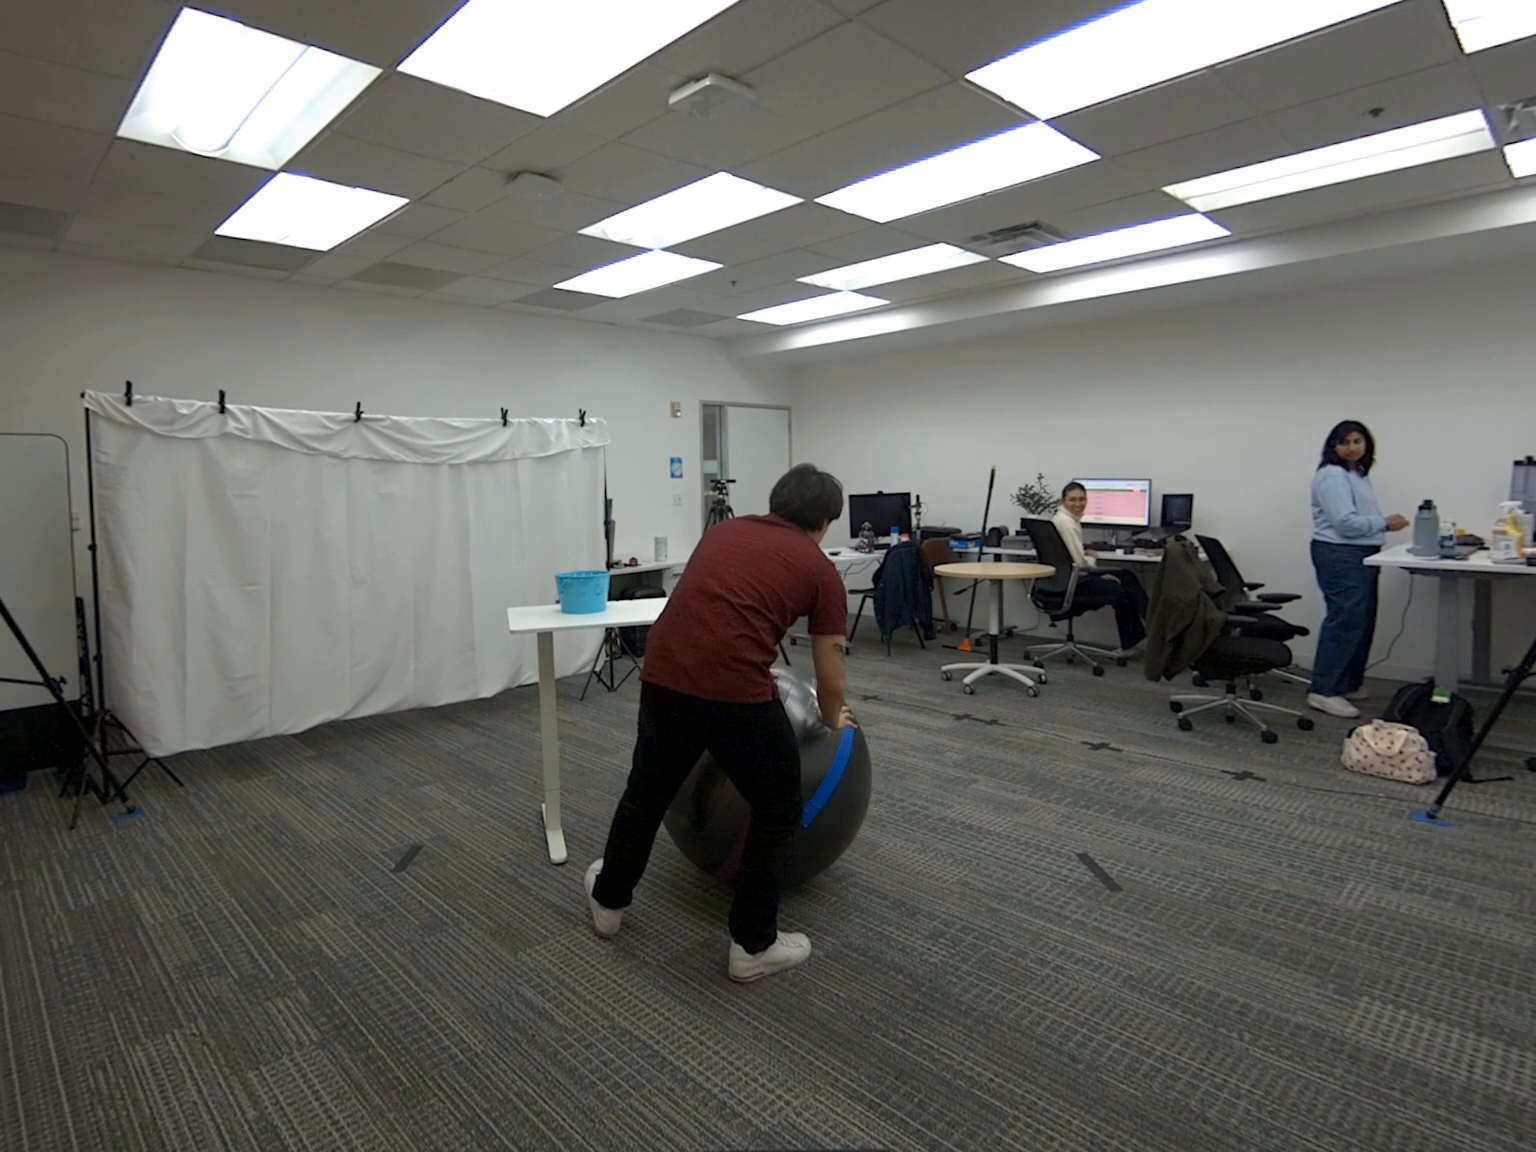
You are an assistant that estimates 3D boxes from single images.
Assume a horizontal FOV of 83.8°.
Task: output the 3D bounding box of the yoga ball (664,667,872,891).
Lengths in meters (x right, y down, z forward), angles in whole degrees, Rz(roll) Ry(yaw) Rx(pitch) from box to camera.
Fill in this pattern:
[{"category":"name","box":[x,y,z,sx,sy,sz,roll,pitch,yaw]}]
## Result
[{"category":"yoga ball","box":[-0.016,0.691,2.980,0.757,0.755,0.762,-1,5,-2]}]
